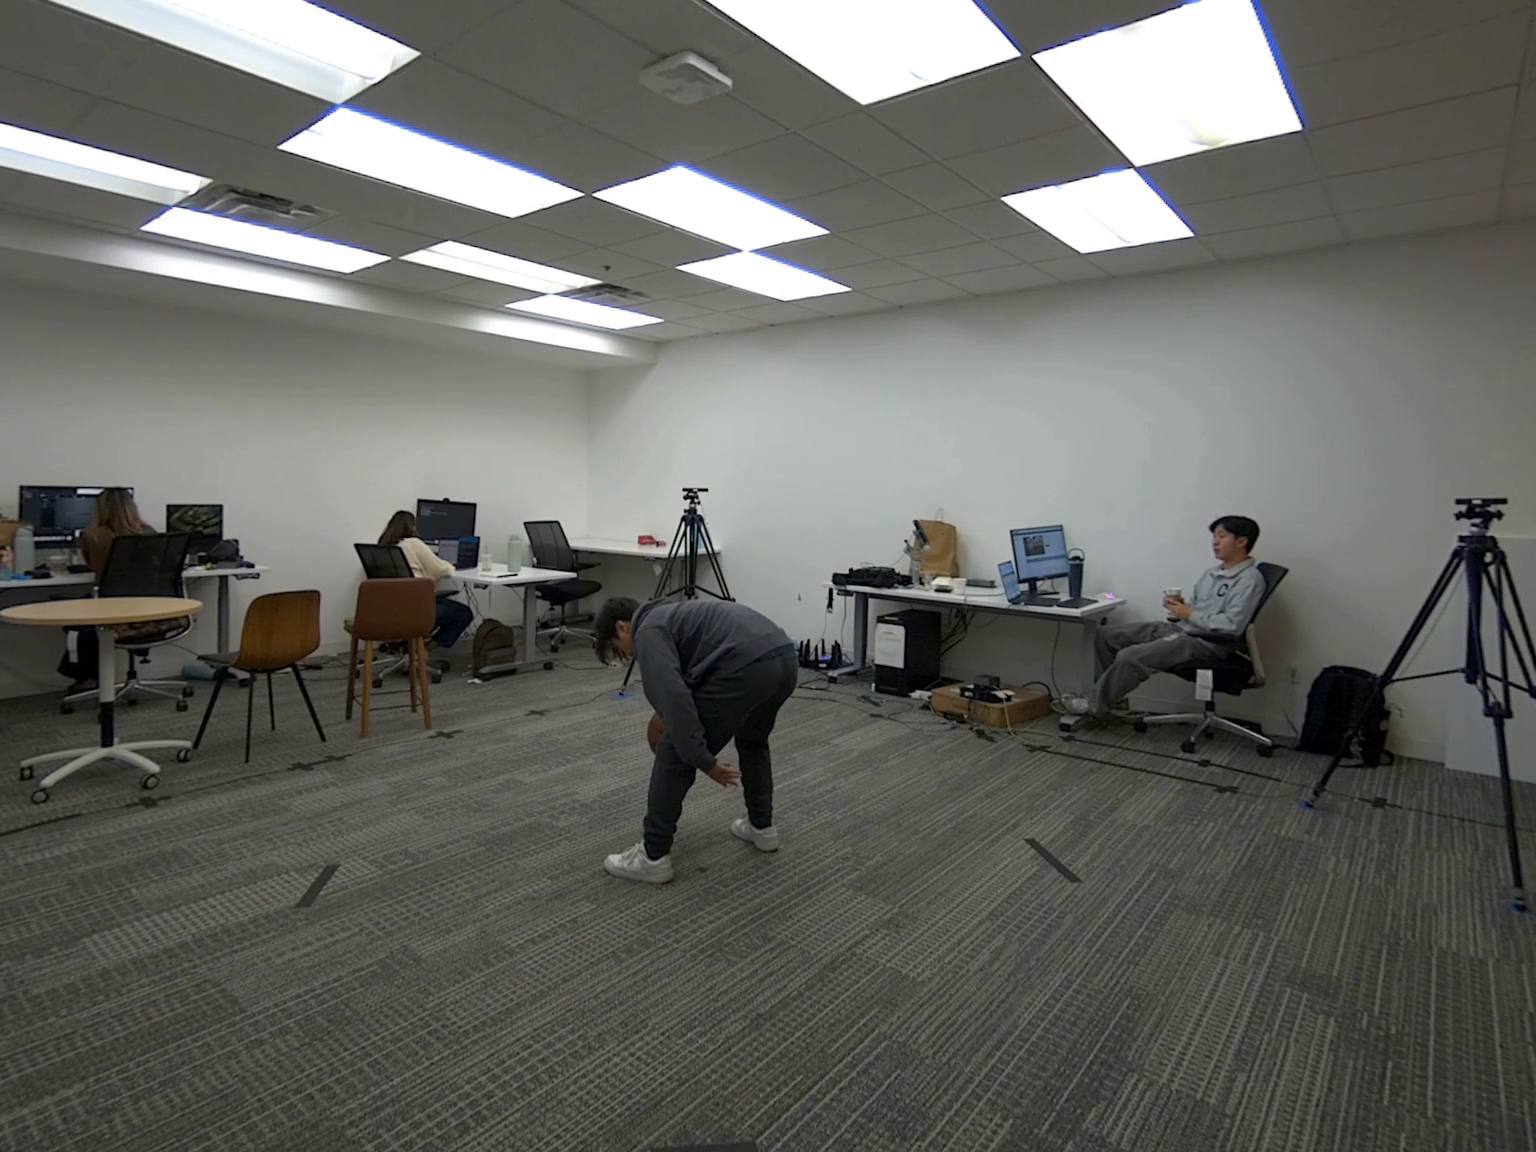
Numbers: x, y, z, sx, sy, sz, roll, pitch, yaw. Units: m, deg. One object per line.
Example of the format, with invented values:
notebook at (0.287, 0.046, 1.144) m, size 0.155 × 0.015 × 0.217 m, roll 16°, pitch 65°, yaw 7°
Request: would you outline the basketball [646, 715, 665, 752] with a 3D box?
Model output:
basketball at (-0.363, 0.625, 3.401) m, size 0.235 × 0.235 × 0.237 m, roll 1°, pitch 4°, yaw -2°
